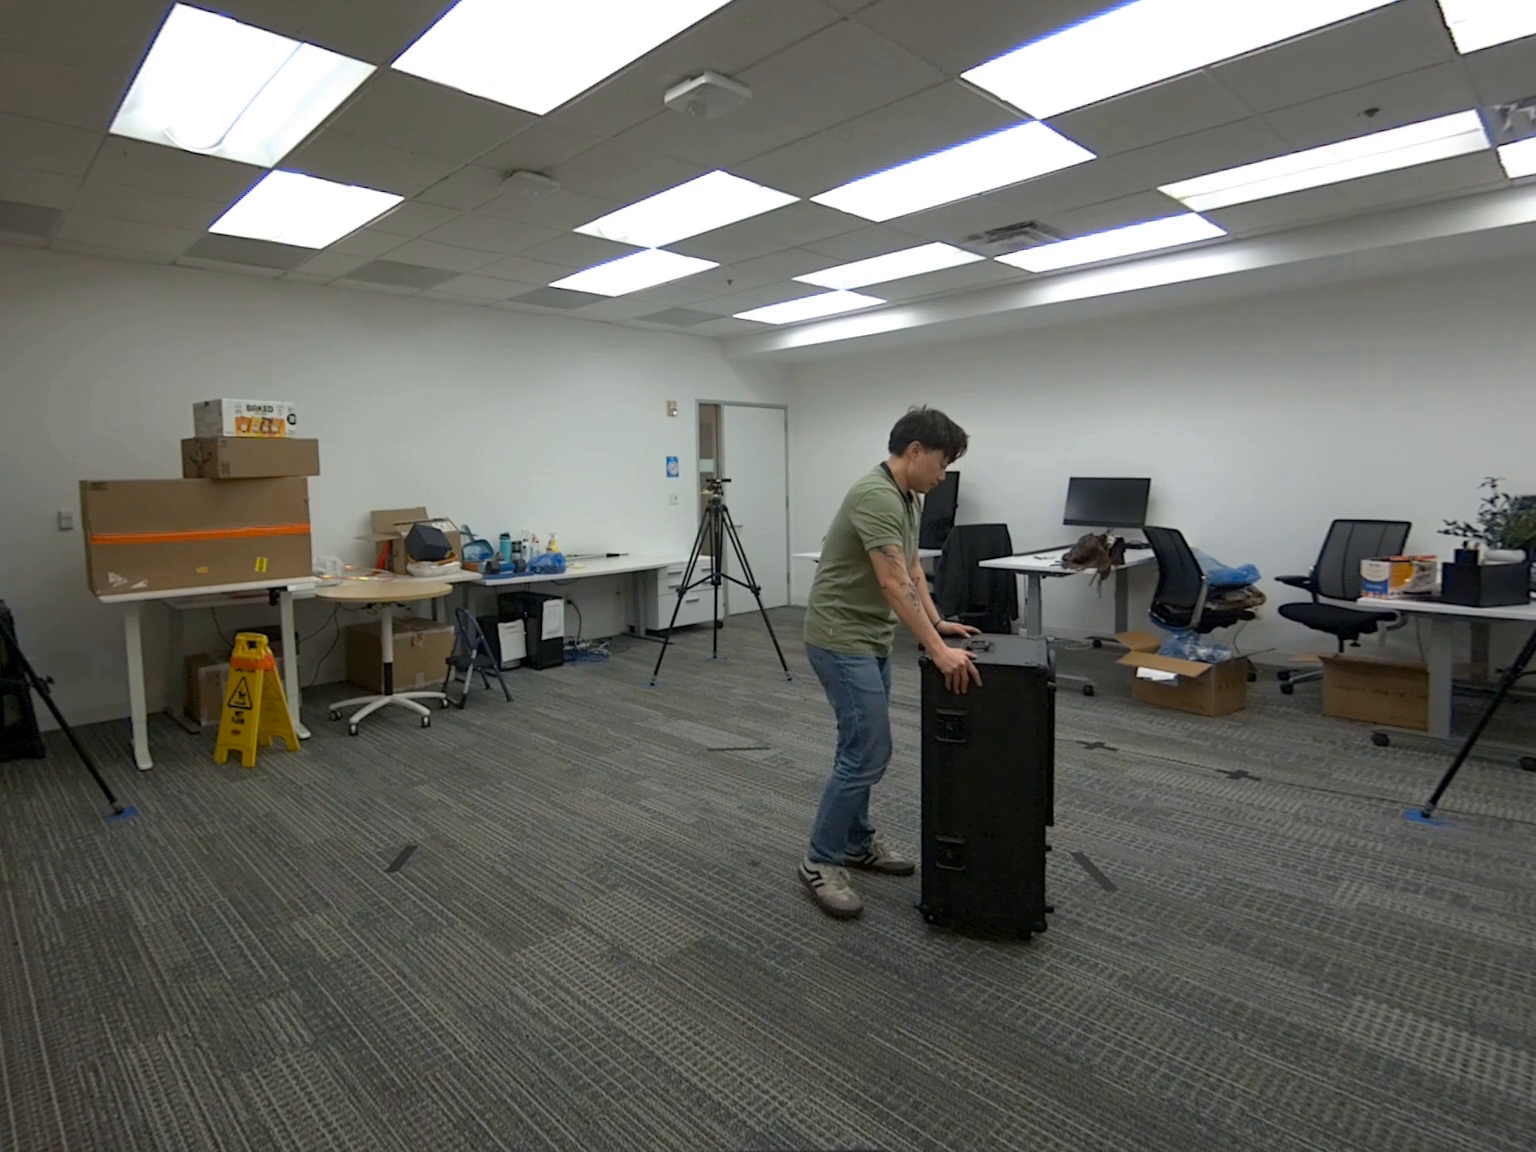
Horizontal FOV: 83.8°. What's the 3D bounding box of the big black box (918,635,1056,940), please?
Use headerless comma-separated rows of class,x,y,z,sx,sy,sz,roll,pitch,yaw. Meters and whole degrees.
big black box,0.711,0.652,2.721,0.404,0.858,0.514,2,5,19
